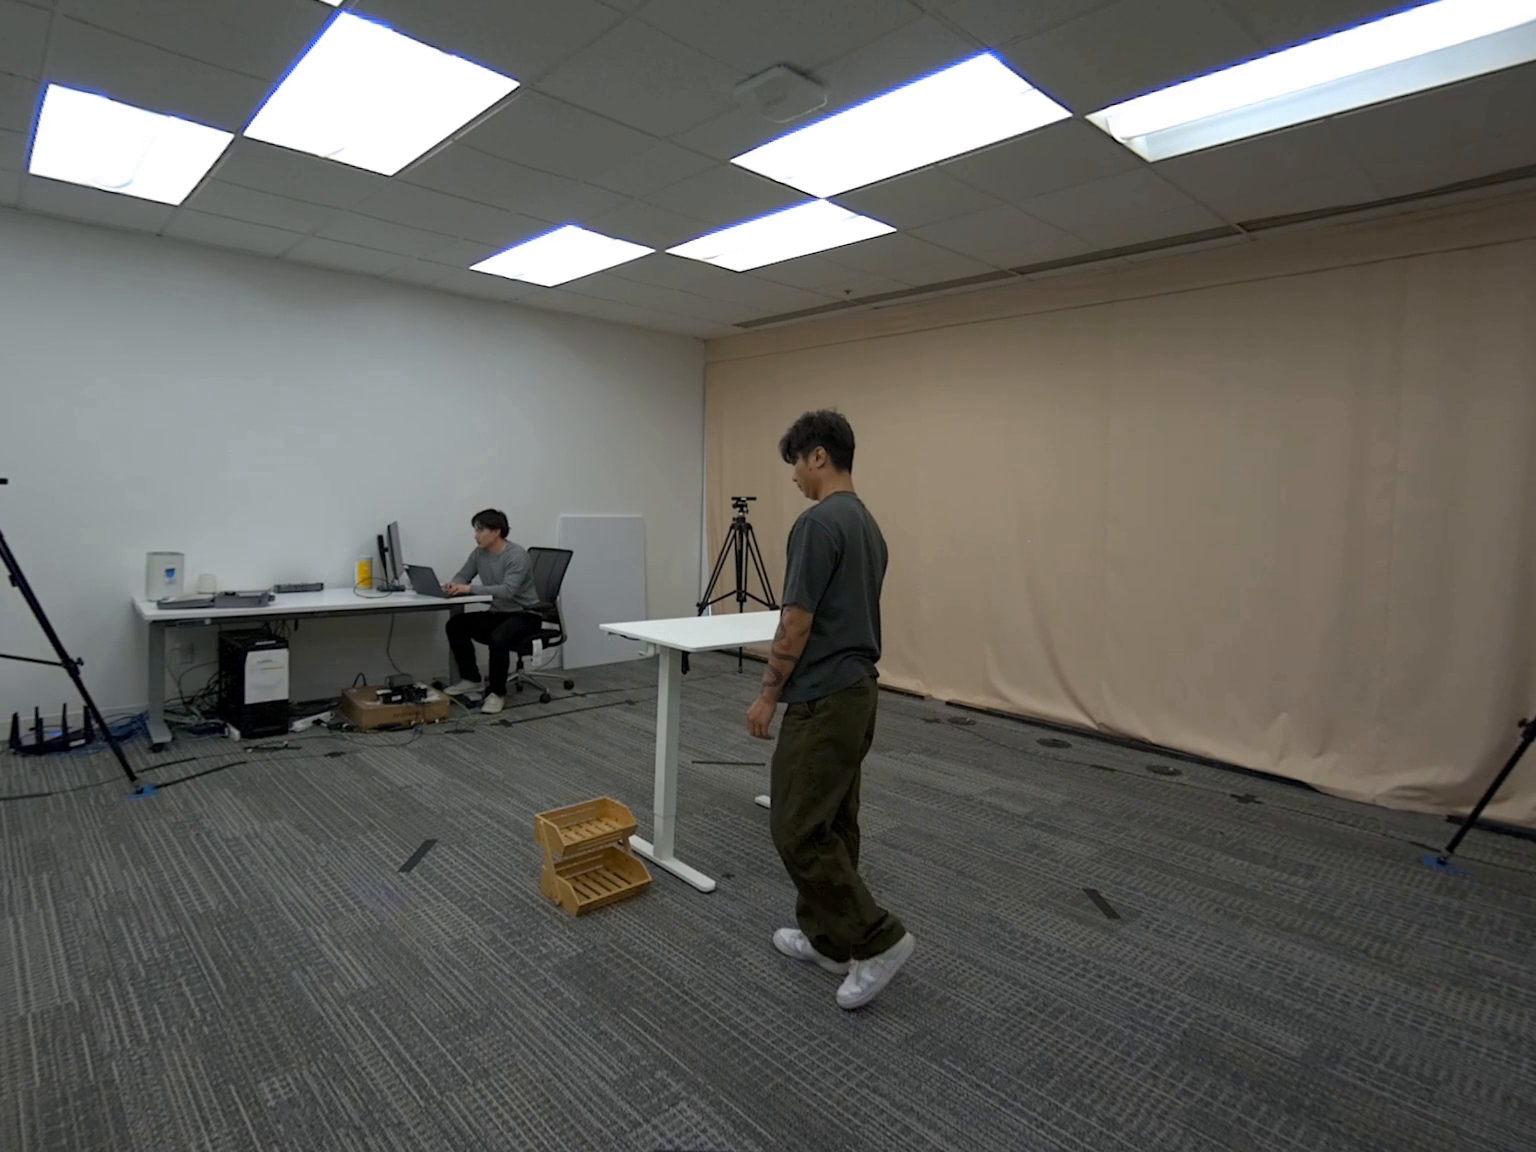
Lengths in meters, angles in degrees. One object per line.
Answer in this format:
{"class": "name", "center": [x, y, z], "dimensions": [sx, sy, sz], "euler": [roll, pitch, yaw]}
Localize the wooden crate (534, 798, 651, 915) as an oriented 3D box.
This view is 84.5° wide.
{"class": "wooden crate", "center": [-0.623, 0.977, 2.965], "dimensions": [0.317, 0.273, 0.310], "euler": [-2, 5, -44]}
